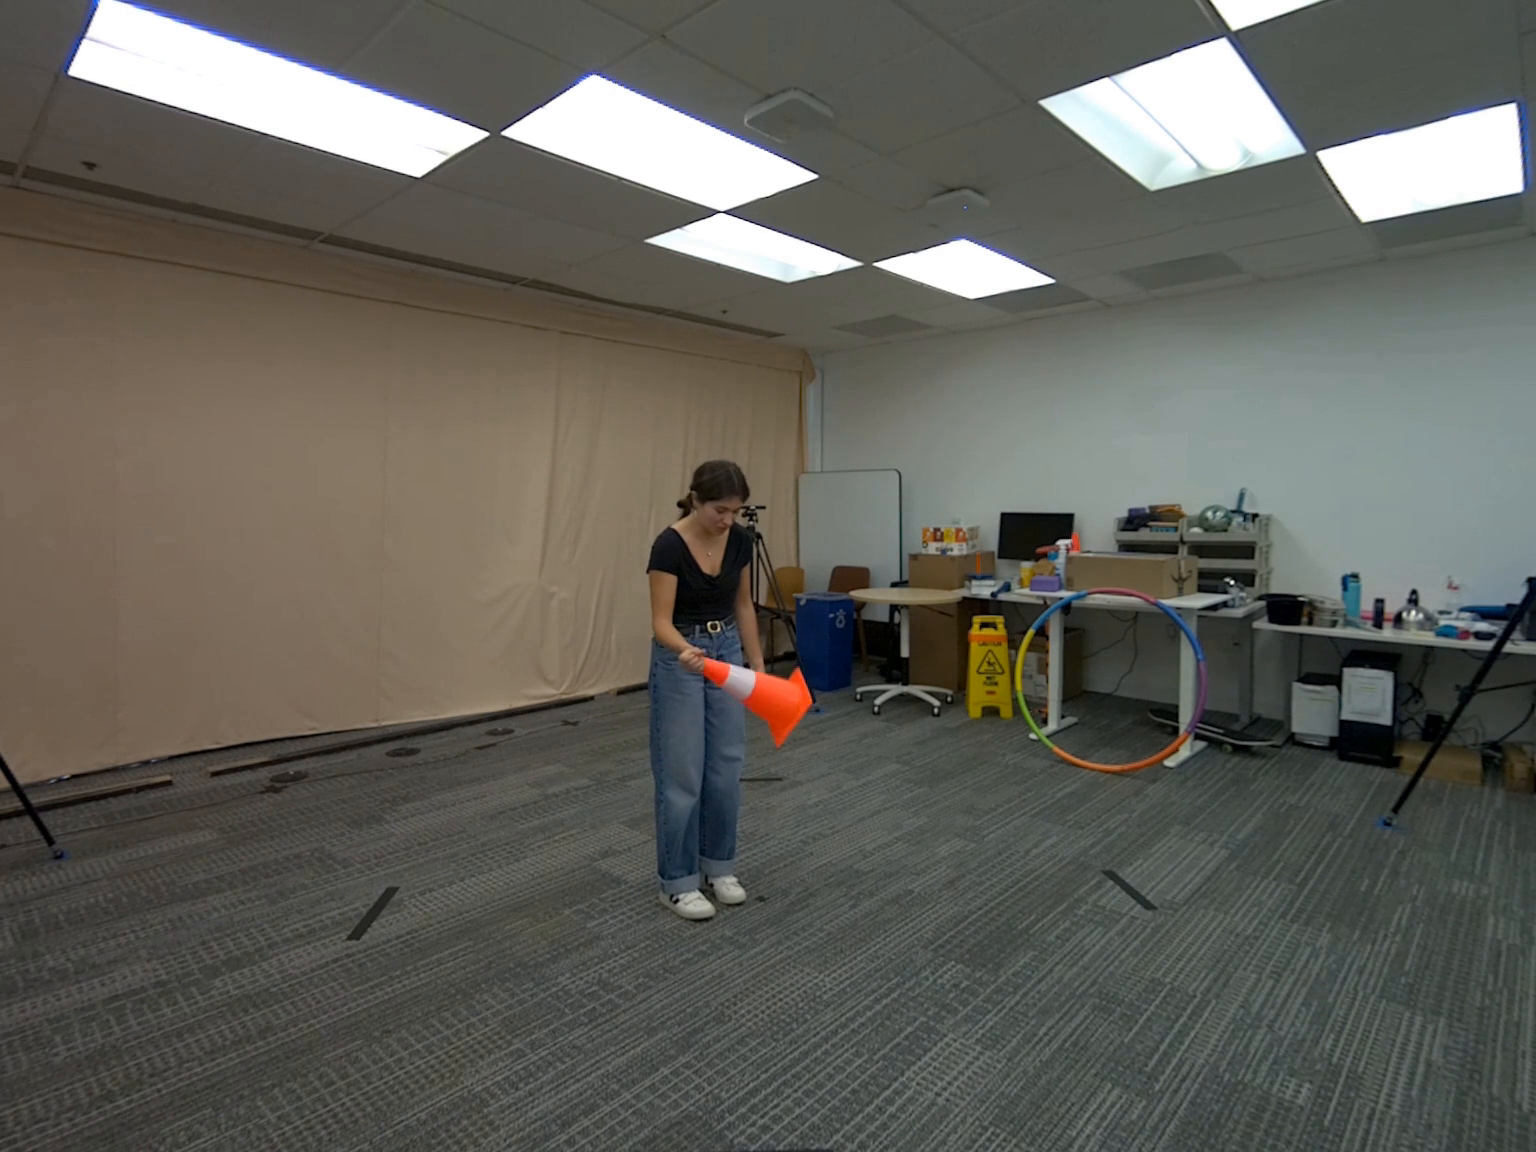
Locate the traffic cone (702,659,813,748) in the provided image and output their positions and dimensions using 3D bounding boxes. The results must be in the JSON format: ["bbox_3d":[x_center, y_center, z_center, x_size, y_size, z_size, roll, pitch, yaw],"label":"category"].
[{"bbox_3d":[-0.095,0.342,2.649,0.374,0.203,0.210,26,21,-22],"label":"traffic cone"}]
